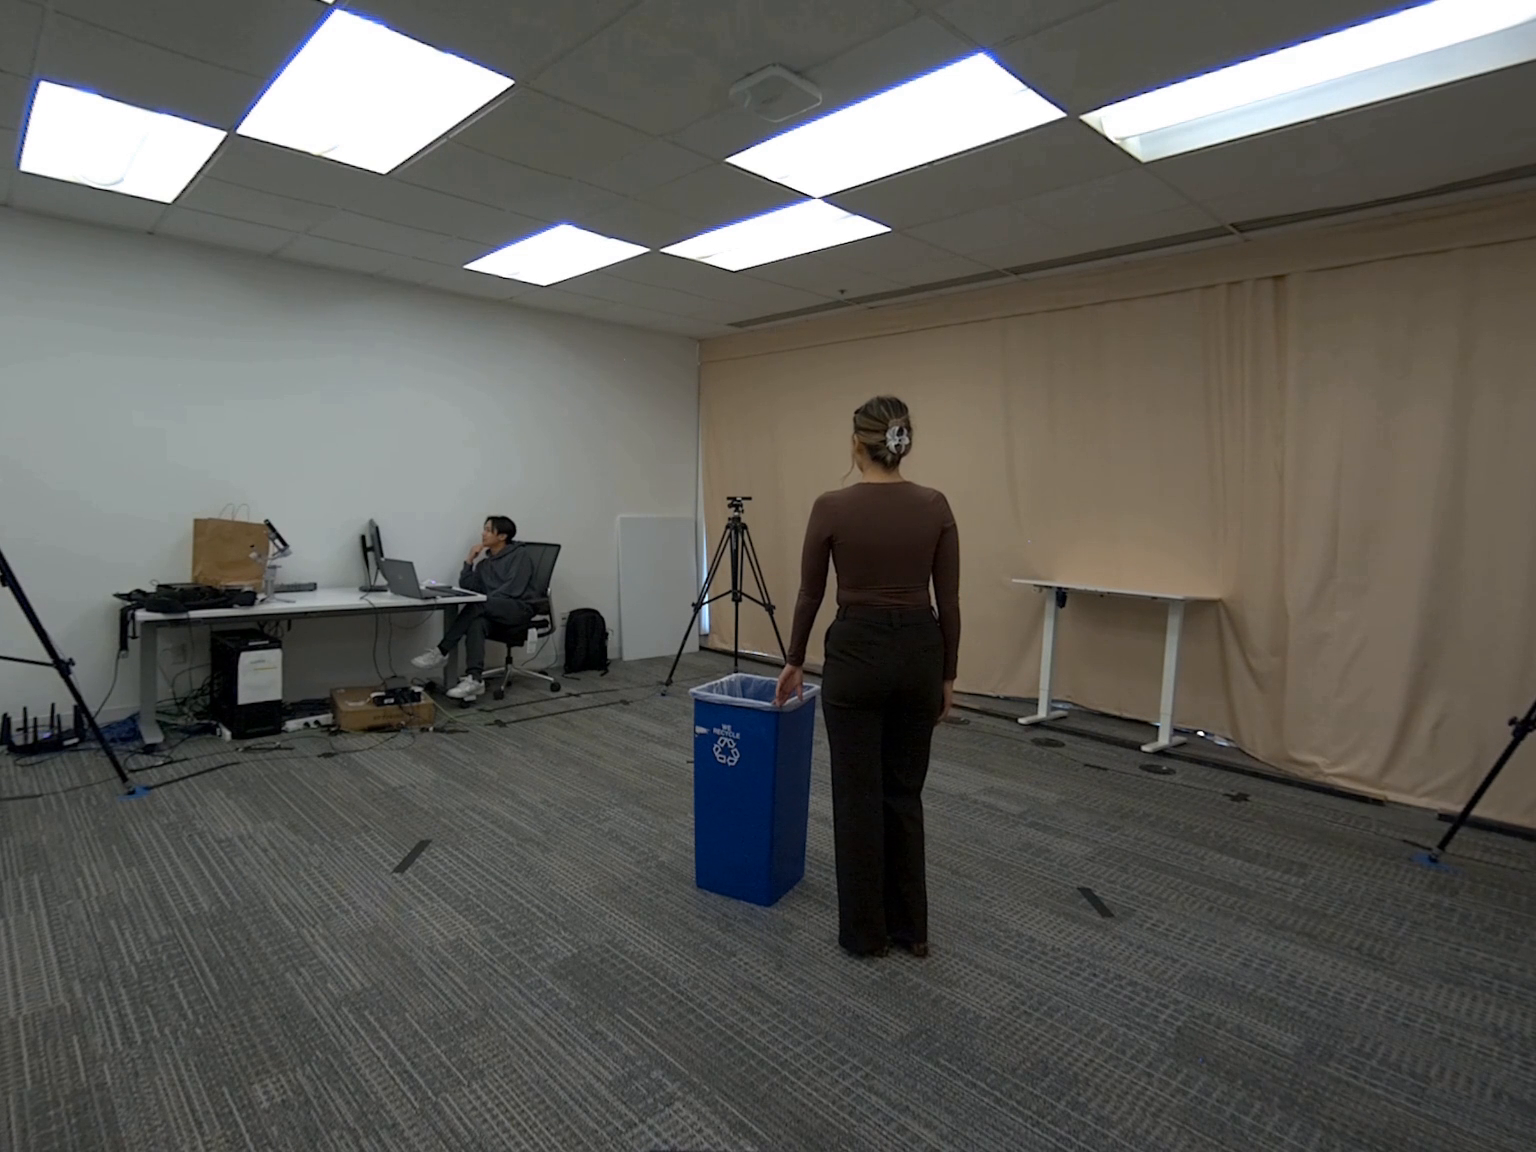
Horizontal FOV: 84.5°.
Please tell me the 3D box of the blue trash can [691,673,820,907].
[{"bbox_3d":[-0.054,0.754,3.045,0.382,0.712,0.371,3,4,28],"label":"blue trash can"}]
